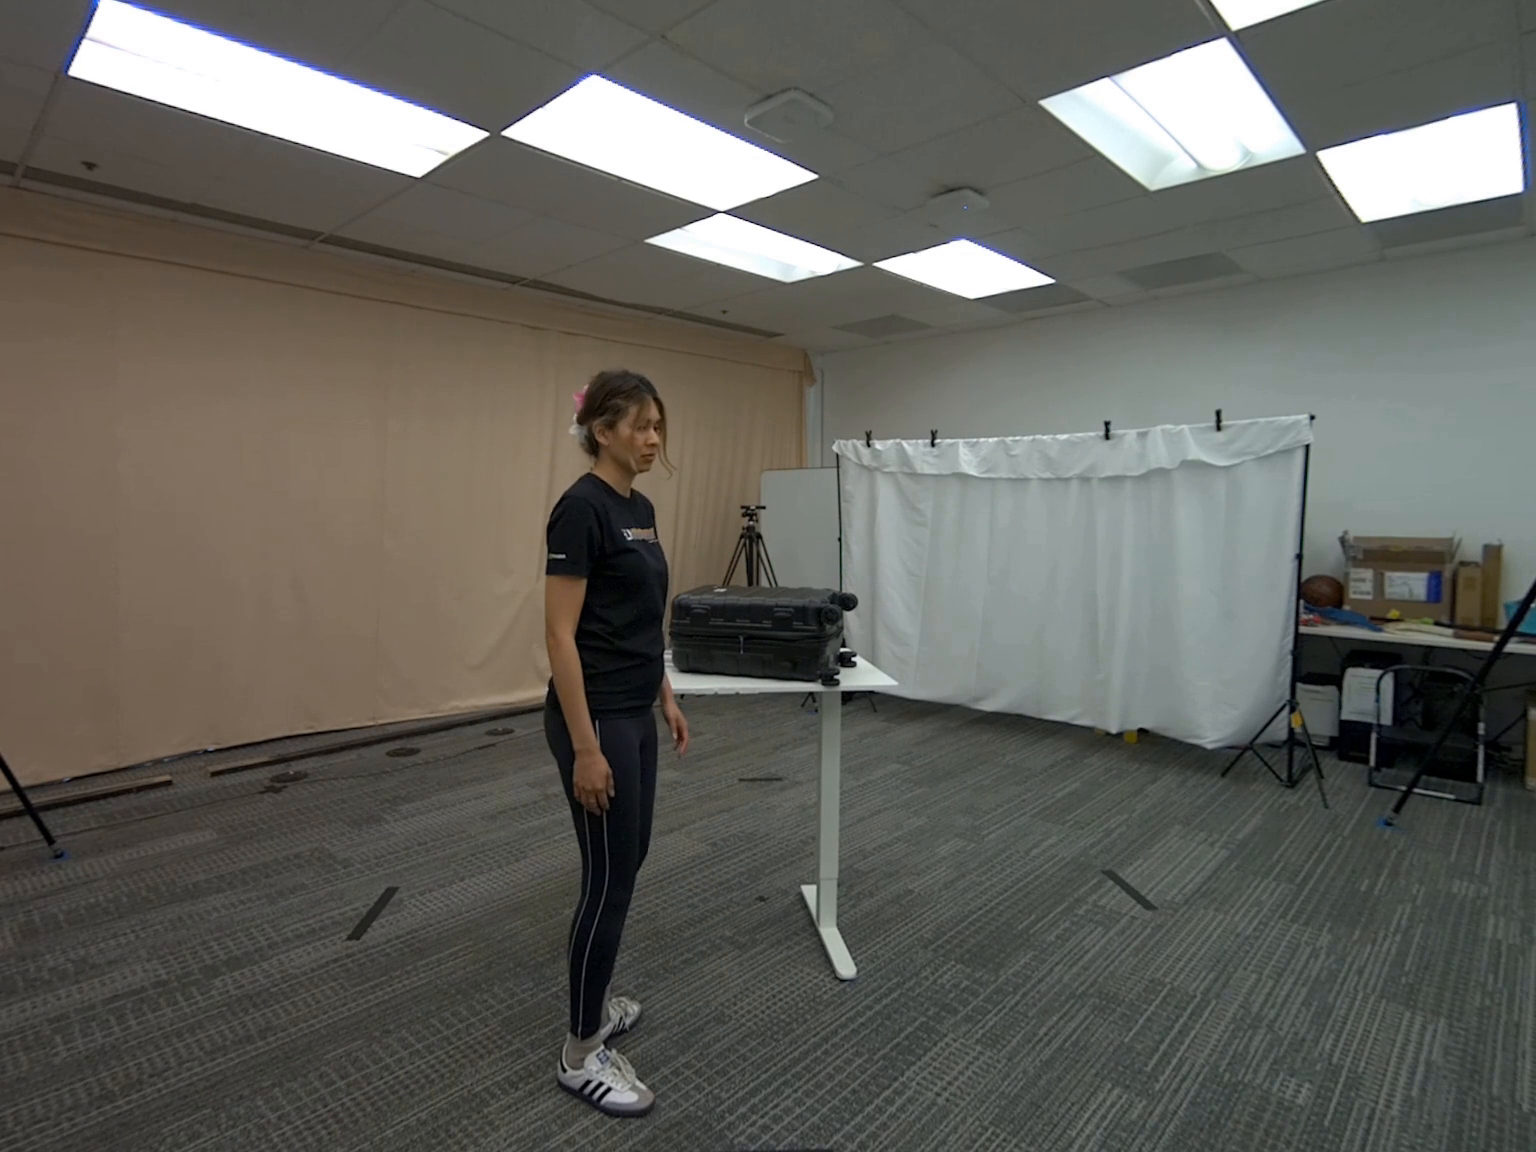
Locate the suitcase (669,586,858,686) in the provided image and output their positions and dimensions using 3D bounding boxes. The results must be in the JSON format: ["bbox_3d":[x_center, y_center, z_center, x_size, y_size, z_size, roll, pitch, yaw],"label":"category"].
[{"bbox_3d":[-0.208,0.162,2.708,0.998,0.256,0.378,3,7,18],"label":"suitcase"}]
